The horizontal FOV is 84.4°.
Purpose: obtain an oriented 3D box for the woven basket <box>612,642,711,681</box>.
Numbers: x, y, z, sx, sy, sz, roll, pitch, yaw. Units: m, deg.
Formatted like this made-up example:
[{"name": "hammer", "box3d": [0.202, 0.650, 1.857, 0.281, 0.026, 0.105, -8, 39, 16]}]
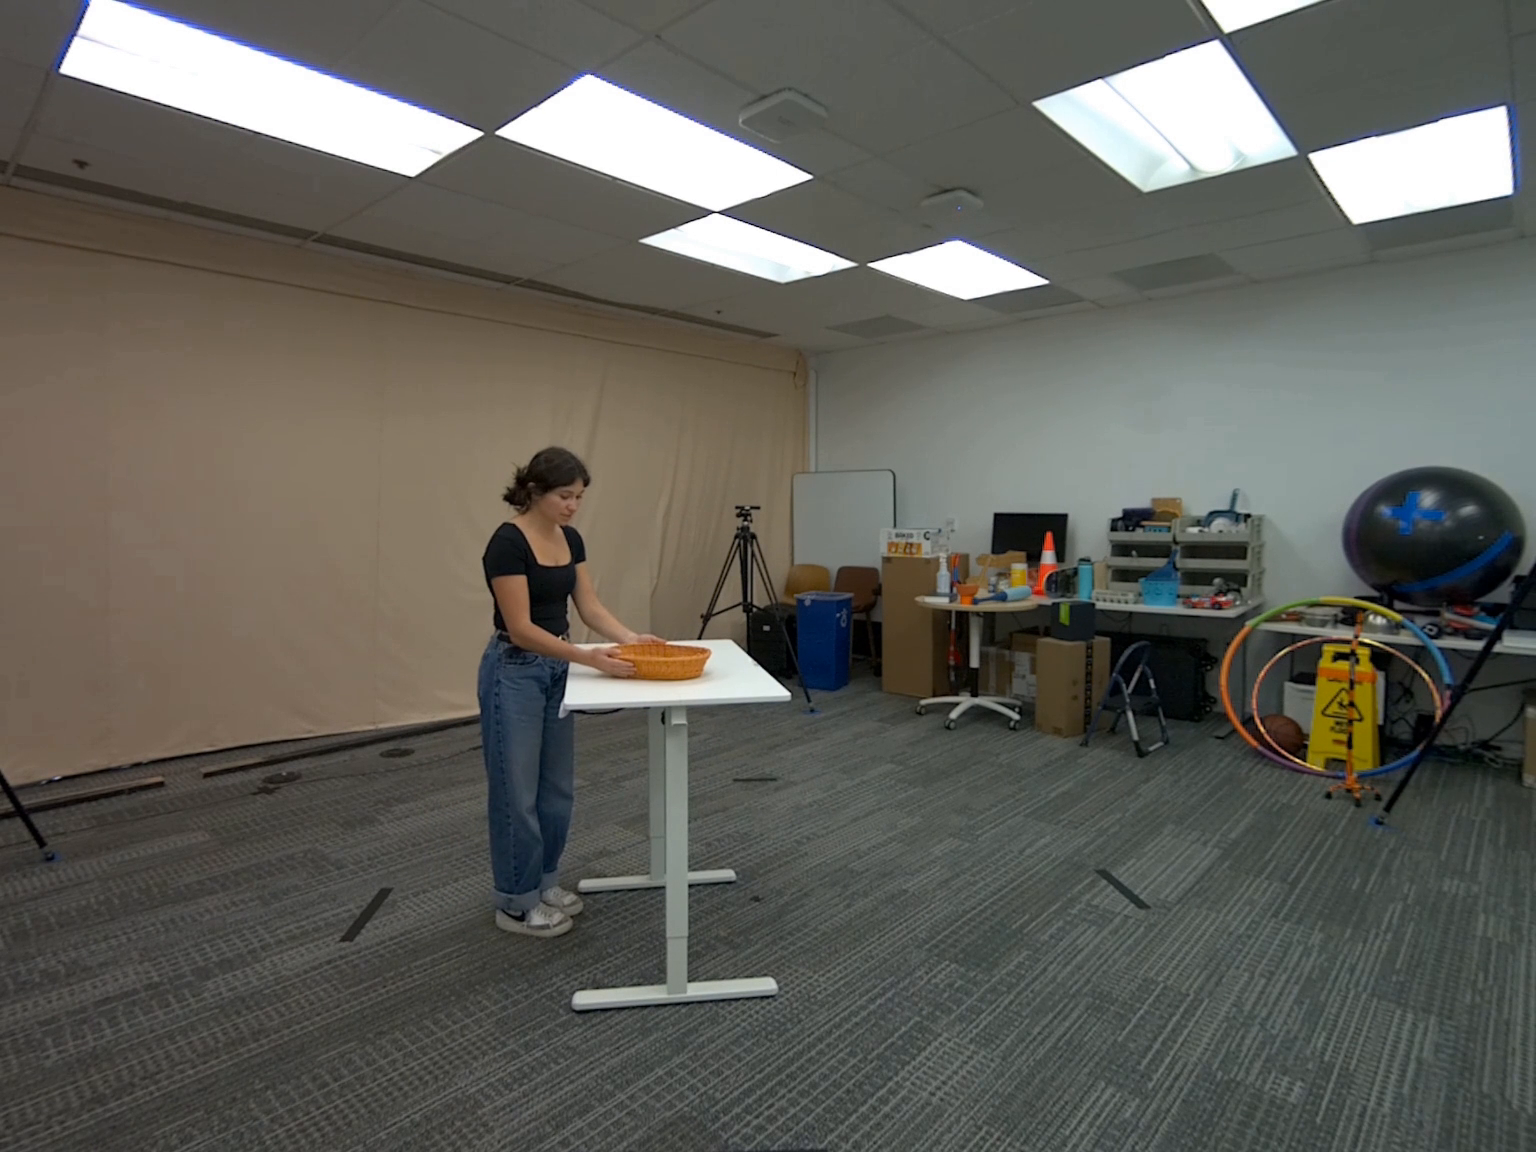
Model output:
[{"name": "woven basket", "box3d": [-0.348, 0.272, 2.523, 0.355, 0.073, 0.249, 0, 4, 13]}]
